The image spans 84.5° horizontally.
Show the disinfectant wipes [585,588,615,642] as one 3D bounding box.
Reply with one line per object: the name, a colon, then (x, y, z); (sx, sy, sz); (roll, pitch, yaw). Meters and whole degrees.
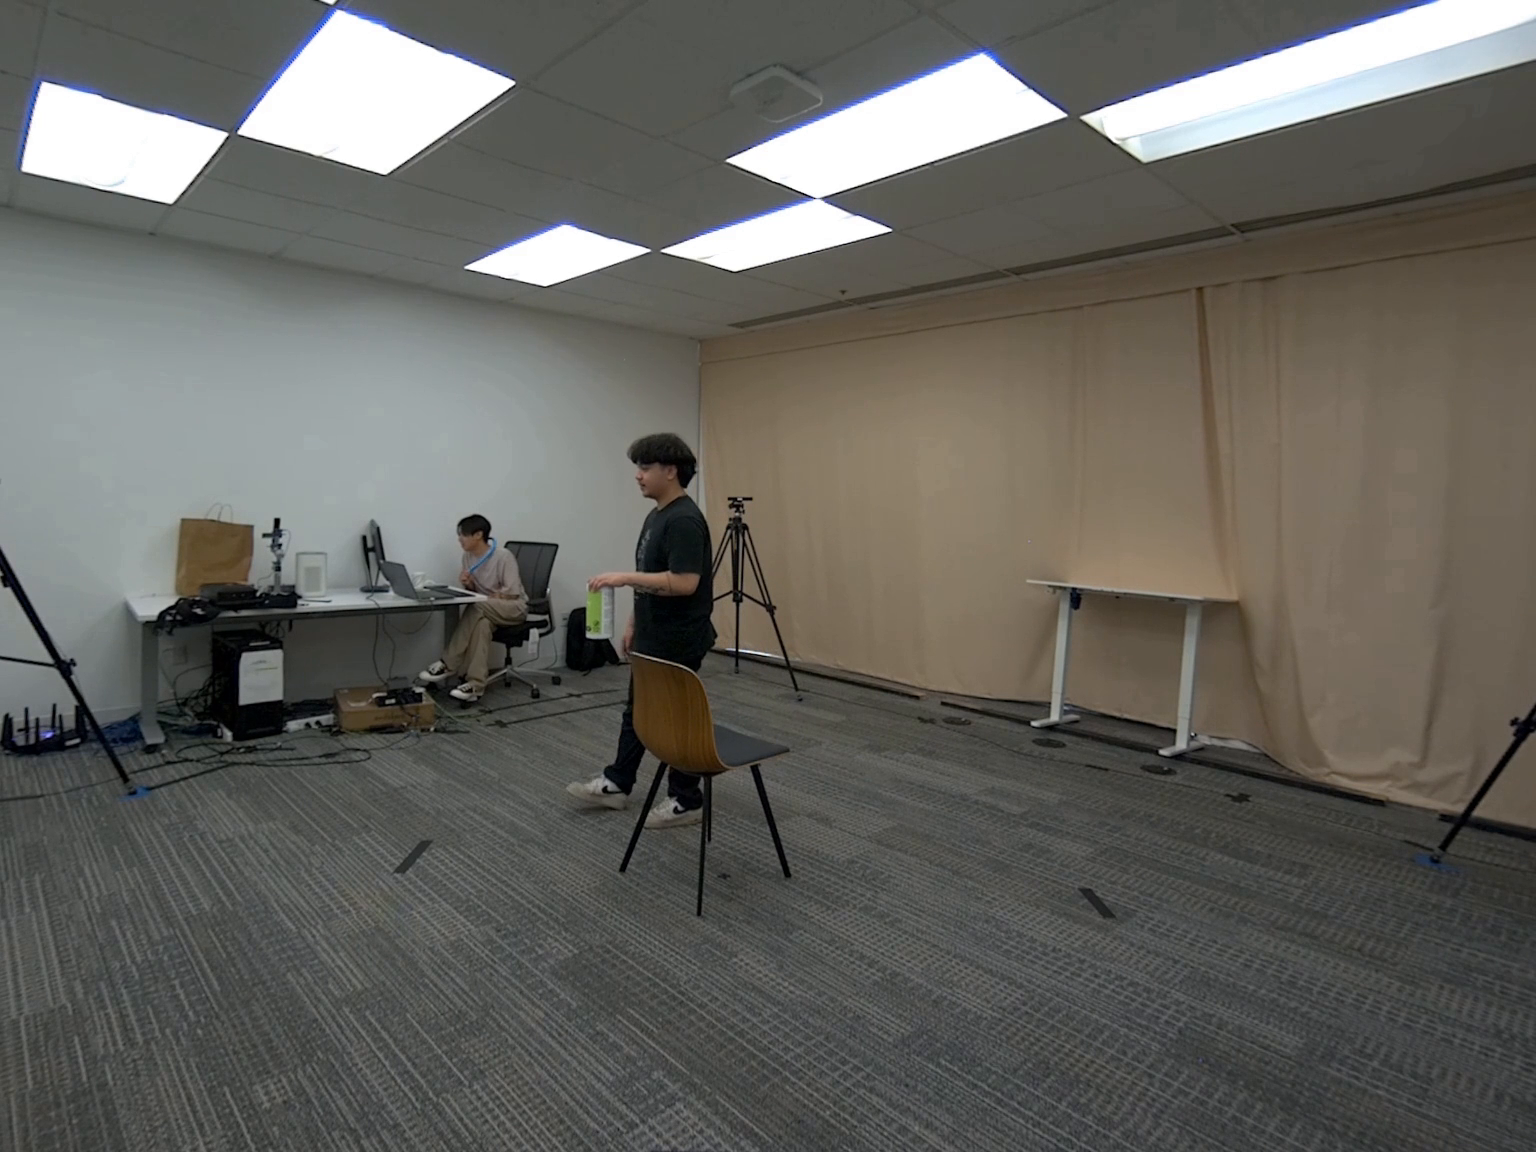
disinfectant wipes: (-0.679, 0.139, 3.316); (0.118, 0.217, 0.118); (0, 2, -1)
